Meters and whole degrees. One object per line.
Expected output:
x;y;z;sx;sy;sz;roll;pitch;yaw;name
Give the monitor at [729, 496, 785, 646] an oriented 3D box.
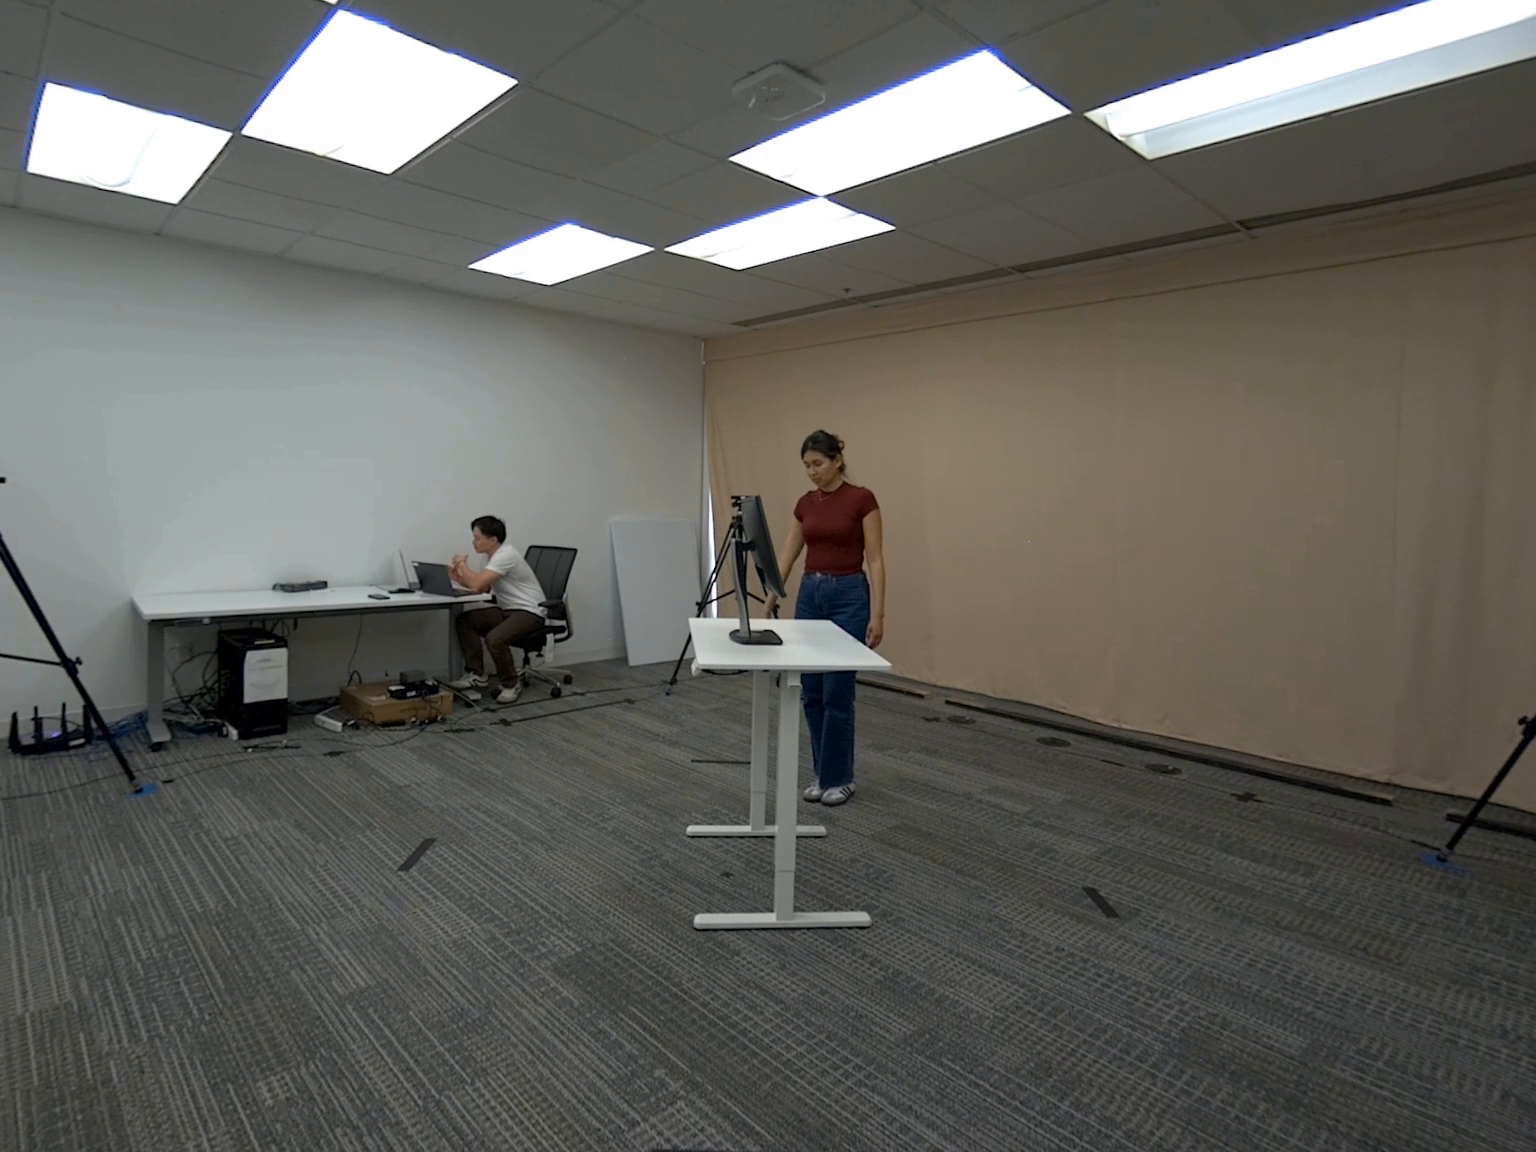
-0.058;-0.024;3.033;0.186;0.521;0.544;-1;4;-9;monitor
